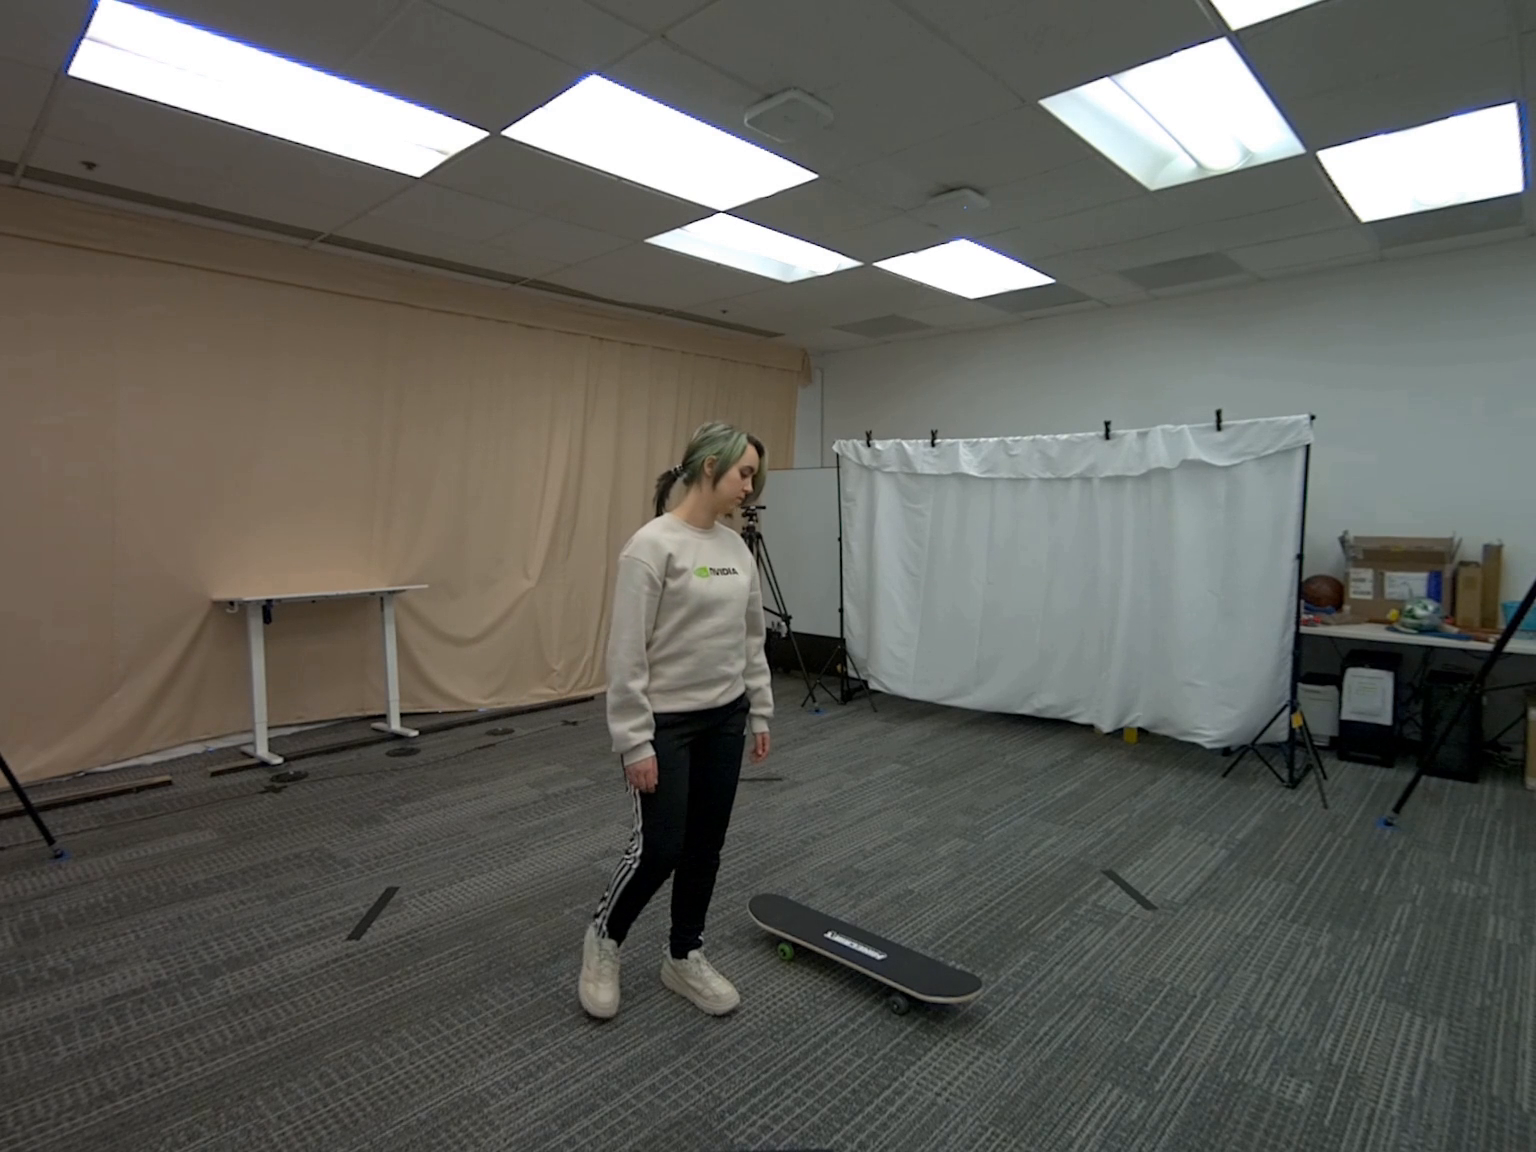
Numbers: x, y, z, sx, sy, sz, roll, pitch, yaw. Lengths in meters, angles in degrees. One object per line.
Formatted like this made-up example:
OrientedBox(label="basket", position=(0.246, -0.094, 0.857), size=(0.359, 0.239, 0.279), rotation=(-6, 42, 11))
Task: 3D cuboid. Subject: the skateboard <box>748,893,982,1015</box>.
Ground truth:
OrientedBox(label="skateboard", position=(0.263, 1.124, 2.501), size=(0.812, 0.110, 0.187), rotation=(4, 5, 41))
